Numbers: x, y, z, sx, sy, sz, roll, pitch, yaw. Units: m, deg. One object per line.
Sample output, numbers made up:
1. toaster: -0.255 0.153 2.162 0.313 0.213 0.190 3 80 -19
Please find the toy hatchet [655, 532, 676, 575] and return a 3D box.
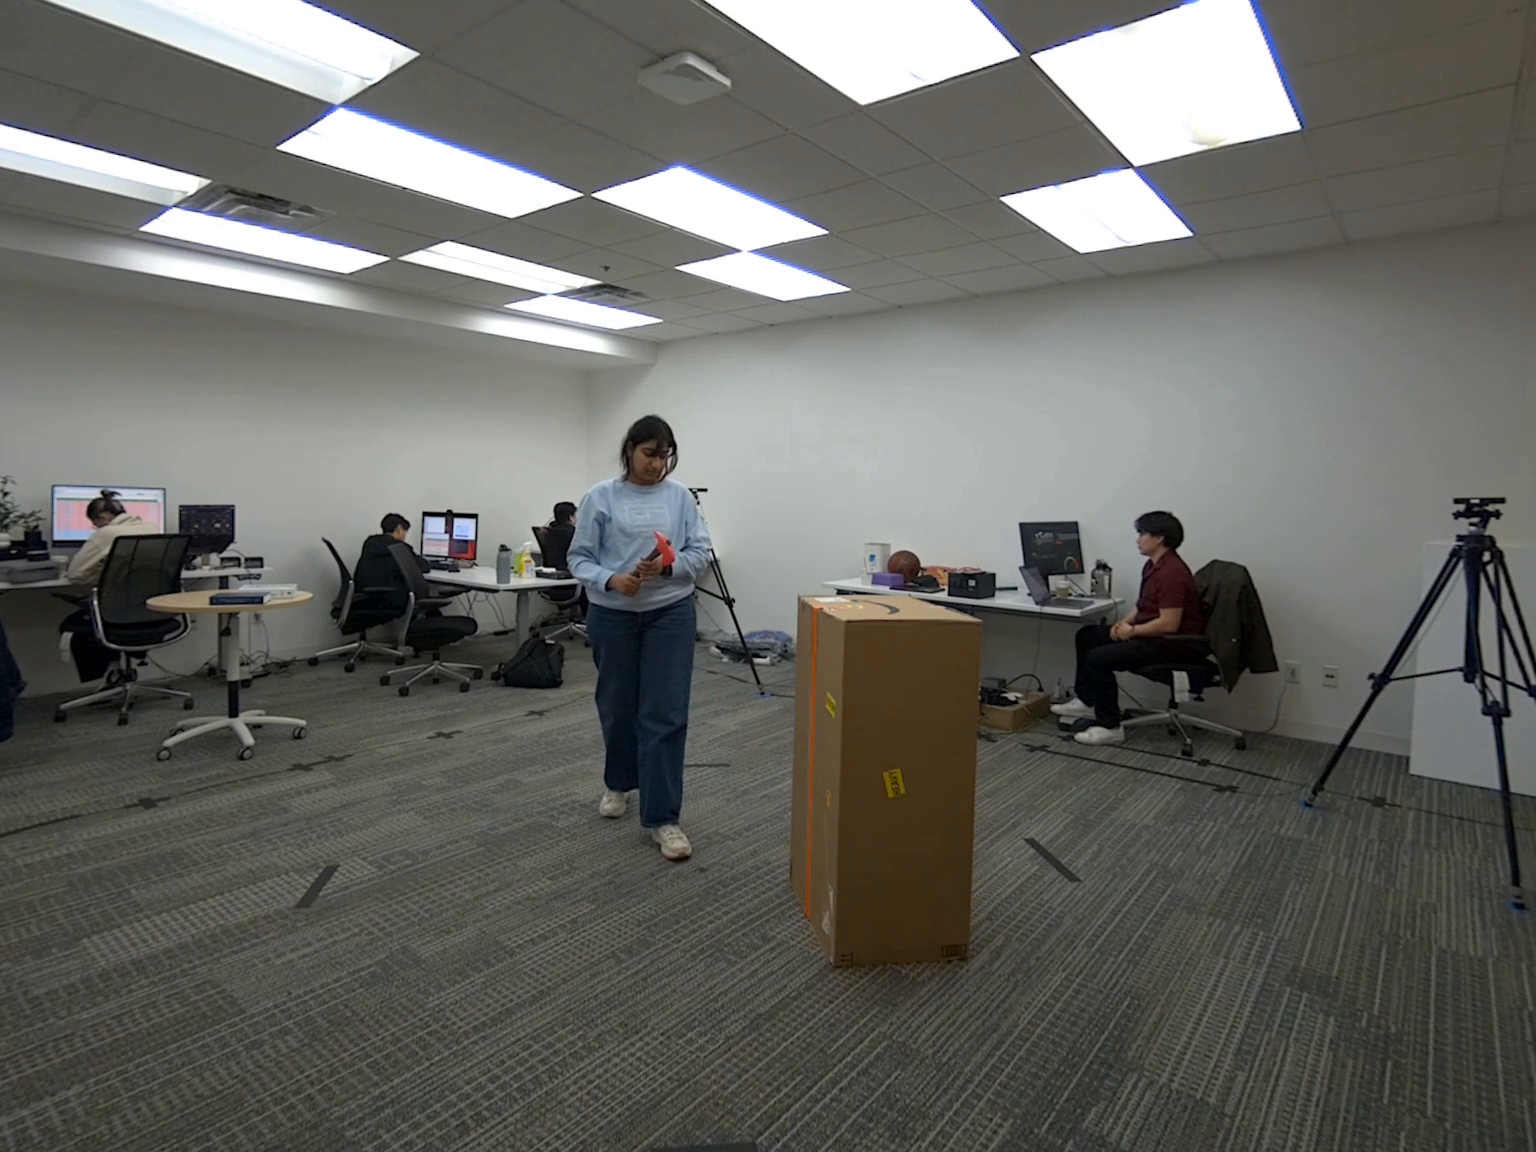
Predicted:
1. toy hatchet: -0.447 -0.032 3.137 0.135 0.268 0.029 39 27 19
